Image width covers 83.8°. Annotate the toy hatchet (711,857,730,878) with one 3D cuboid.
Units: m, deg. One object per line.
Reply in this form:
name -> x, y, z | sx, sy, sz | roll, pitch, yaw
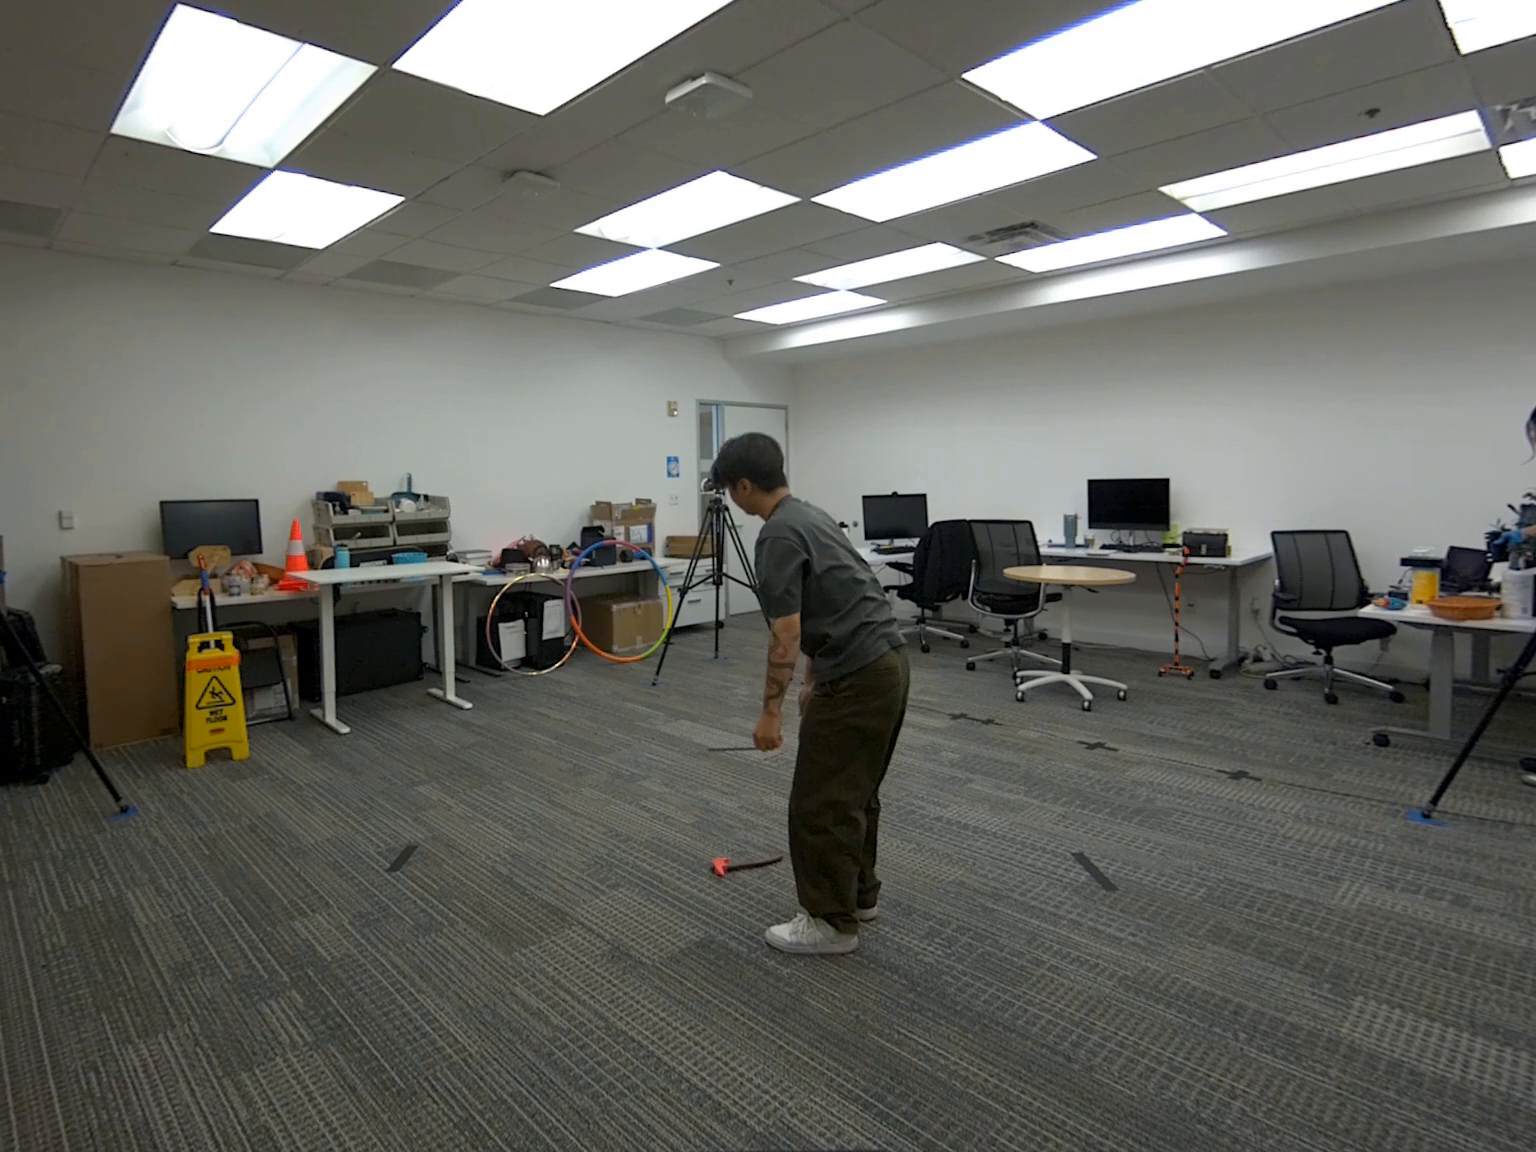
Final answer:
toy hatchet -> -0.089, 1.029, 3.097 | 0.263, 0.029, 0.135 | -2, 4, -34
